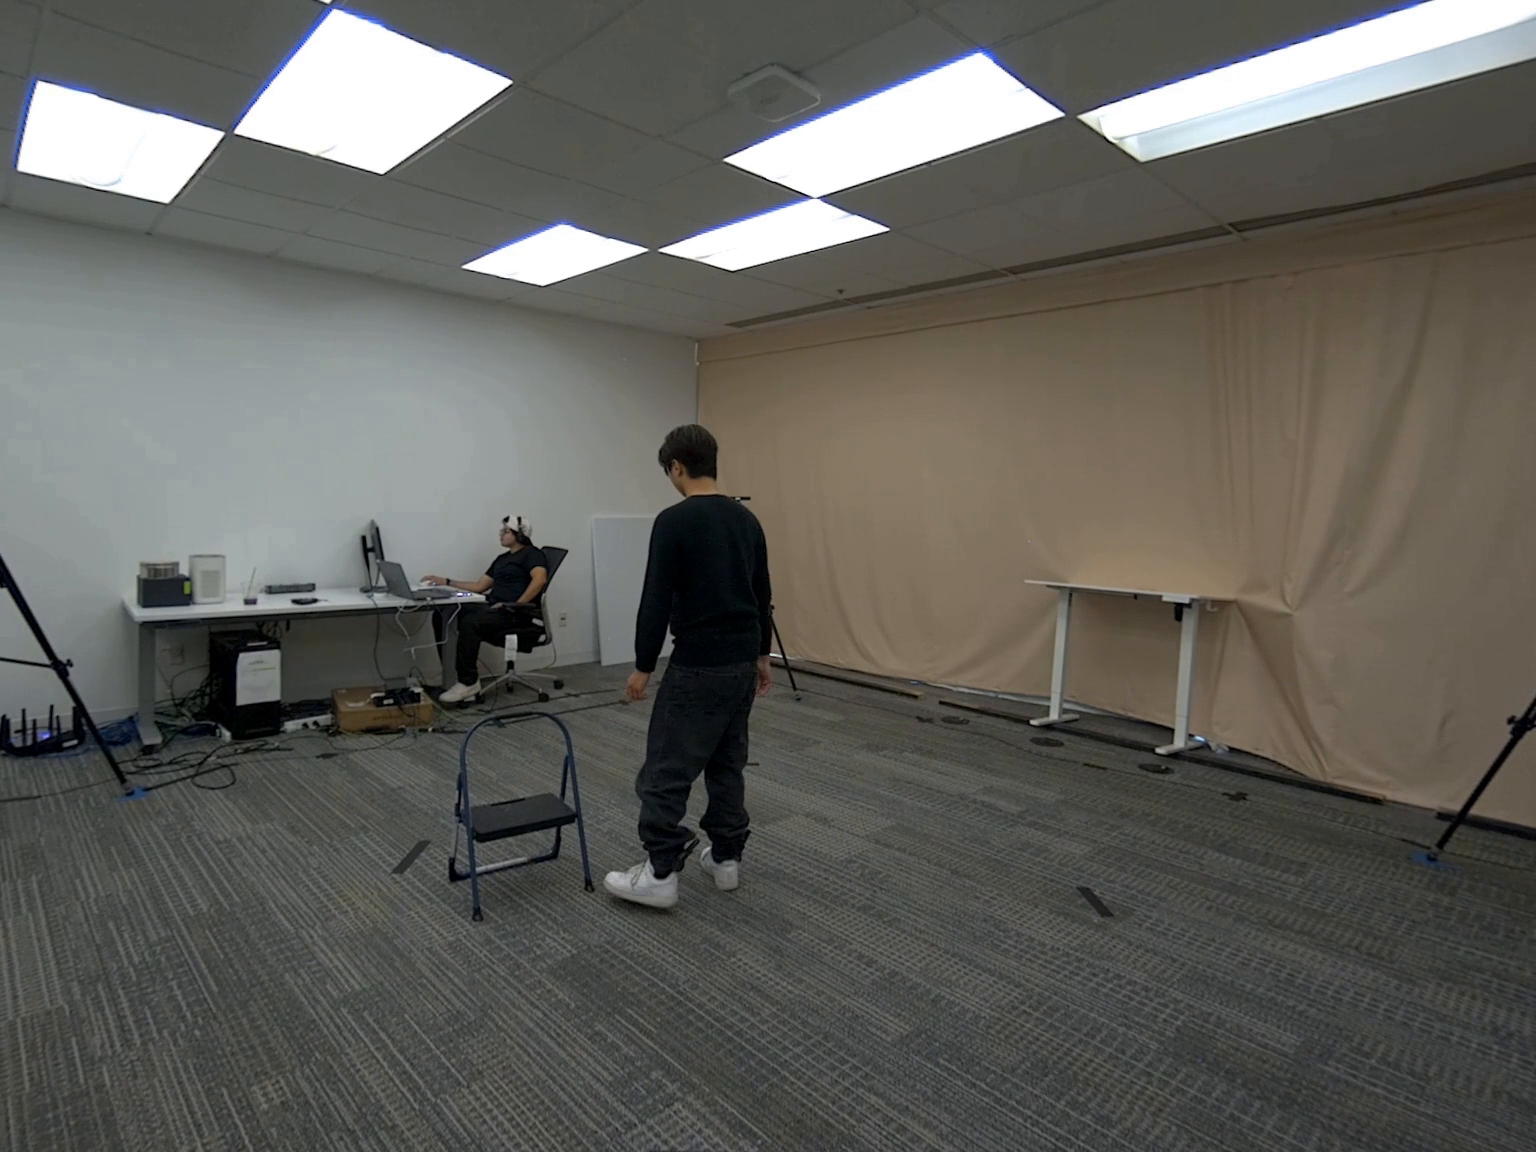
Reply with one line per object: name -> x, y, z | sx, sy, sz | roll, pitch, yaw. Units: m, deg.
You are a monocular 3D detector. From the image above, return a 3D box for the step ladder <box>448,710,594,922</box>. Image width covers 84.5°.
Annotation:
step ladder -> -0.878, 0.797, 2.978 | 0.421, 0.604, 0.358 | -2, 5, -35
